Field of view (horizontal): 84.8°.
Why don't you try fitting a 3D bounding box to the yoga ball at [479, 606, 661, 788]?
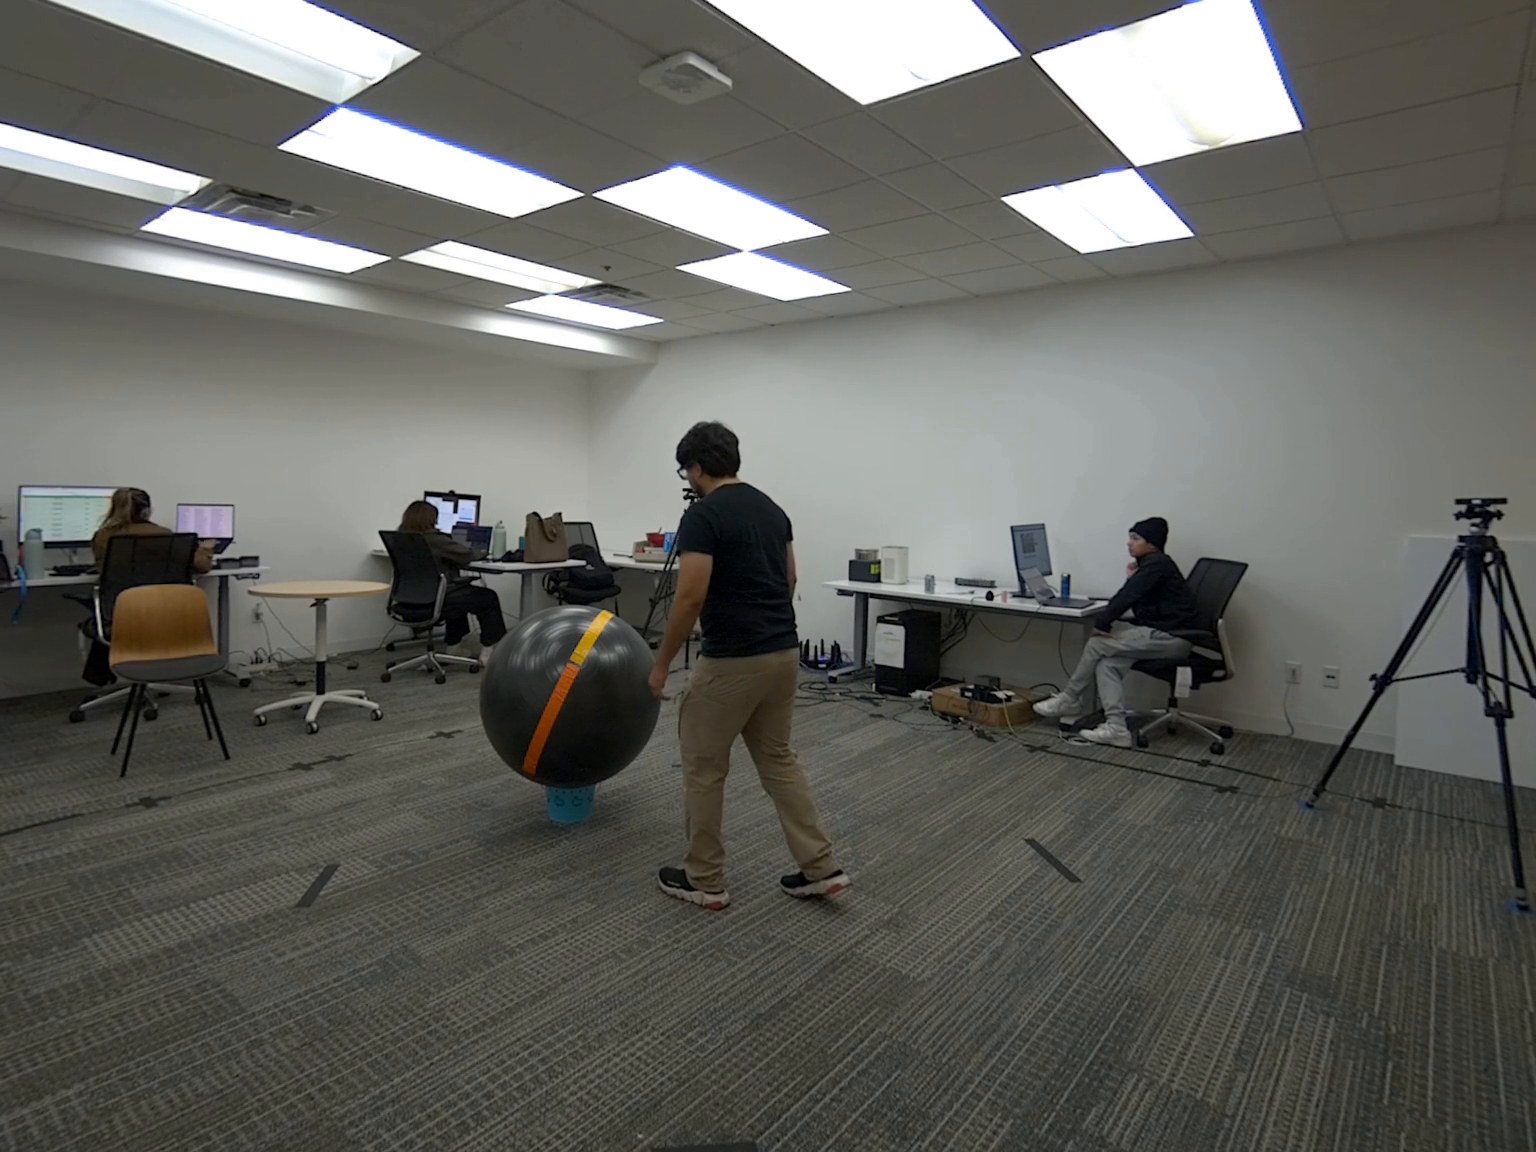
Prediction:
[{"bbox_3d":[-0.844,0.505,3.592,0.757,0.755,0.762,1,4,-2],"label":"yoga ball"}]
